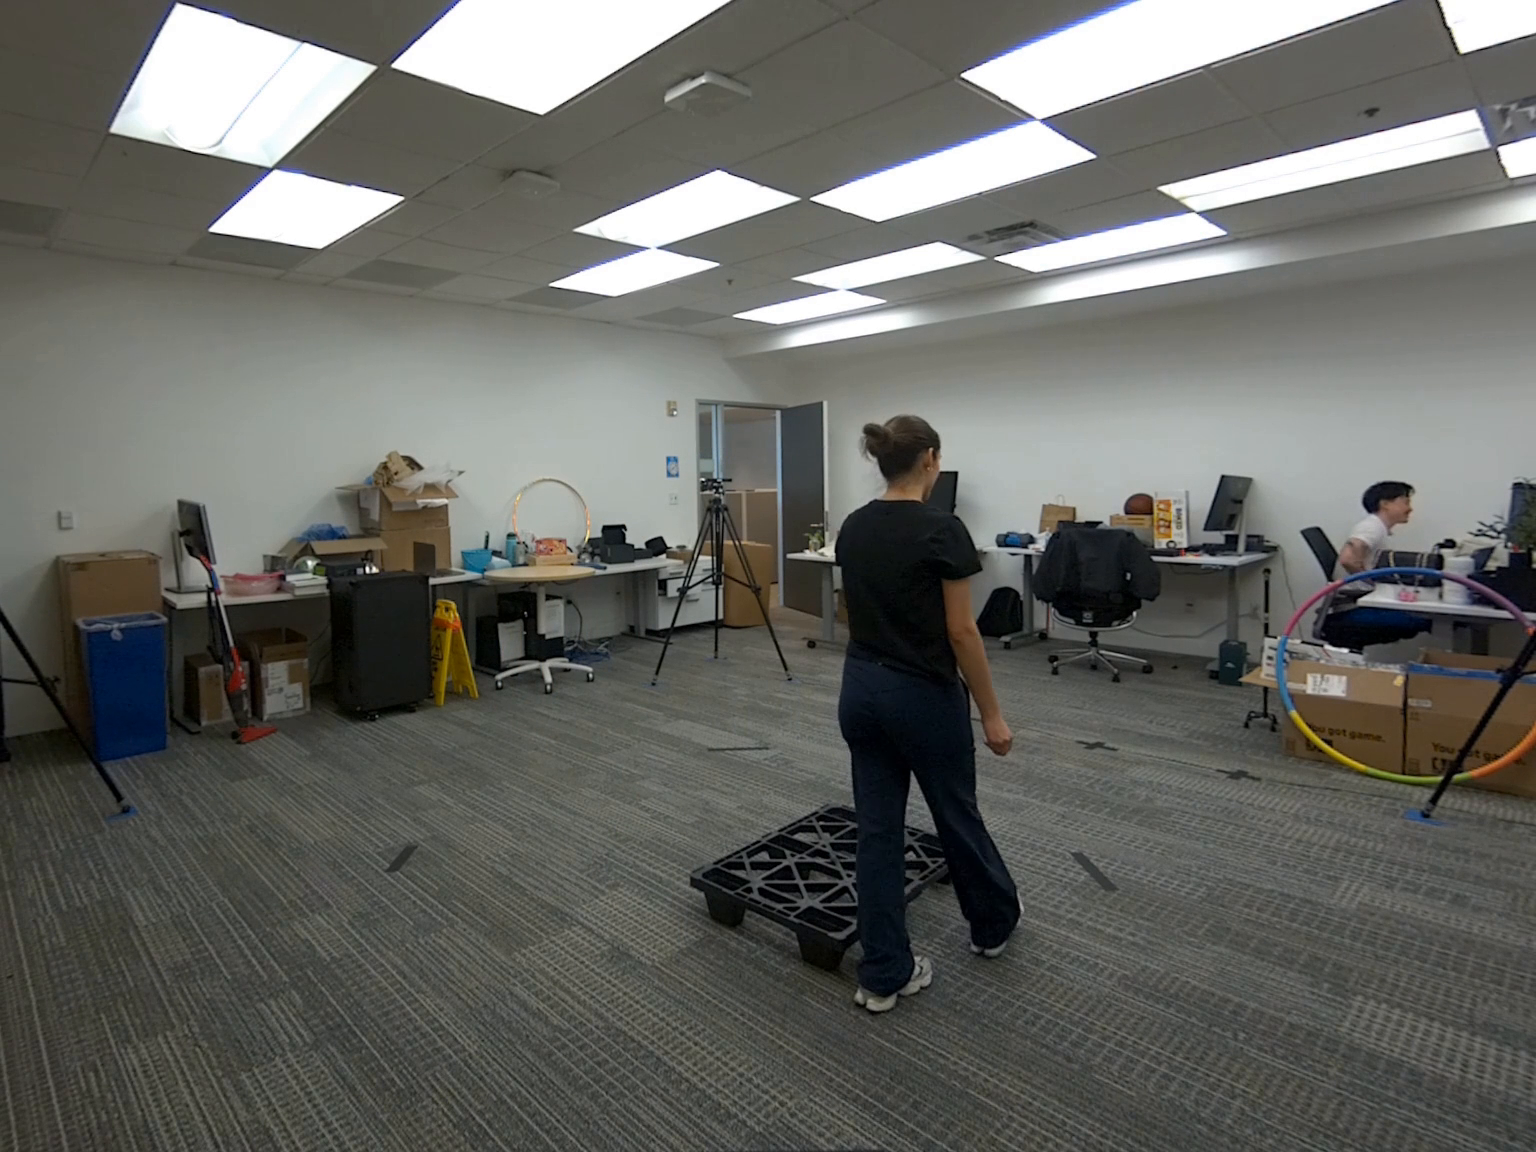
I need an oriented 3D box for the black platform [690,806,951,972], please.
[{"bbox_3d":[0.228,1.004,2.850,0.624,0.142,0.785,5,9,40],"label":"black platform"}]
